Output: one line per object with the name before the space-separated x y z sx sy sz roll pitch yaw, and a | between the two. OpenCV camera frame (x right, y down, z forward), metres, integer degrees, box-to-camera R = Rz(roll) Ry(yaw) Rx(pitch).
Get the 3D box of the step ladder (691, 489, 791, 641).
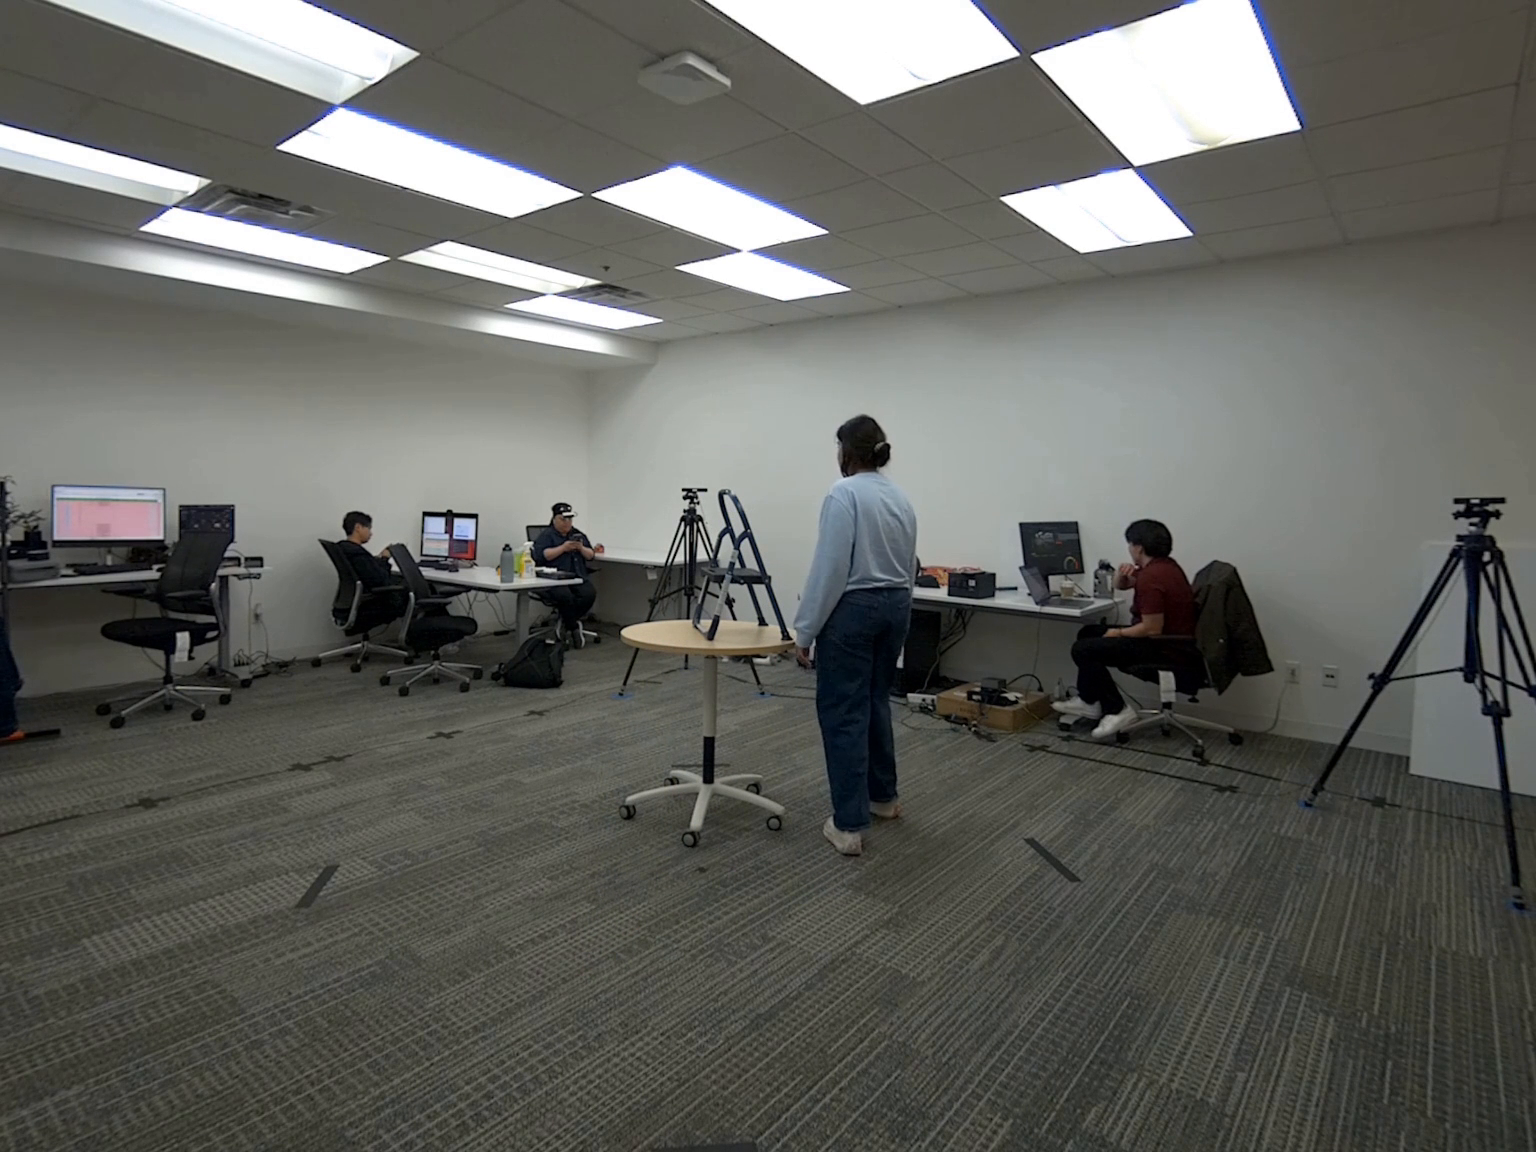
step ladder | -0.127 -0.065 3.619 0.344 0.605 0.438 2 3 -14
